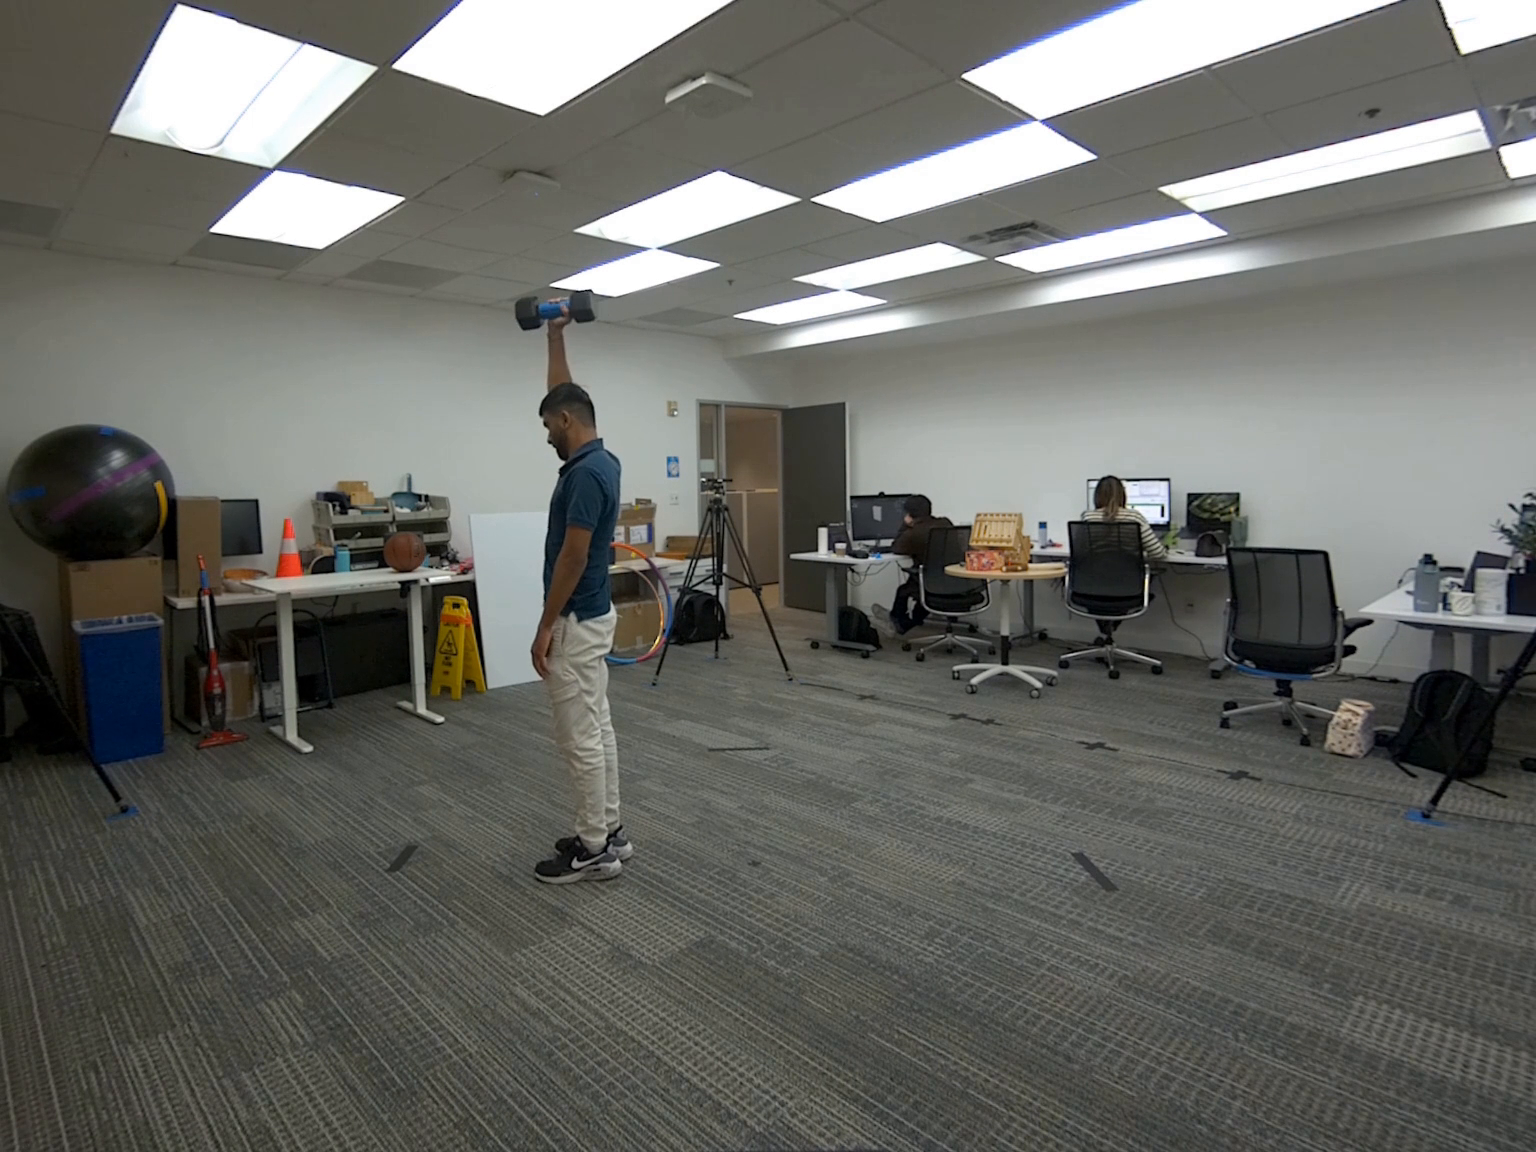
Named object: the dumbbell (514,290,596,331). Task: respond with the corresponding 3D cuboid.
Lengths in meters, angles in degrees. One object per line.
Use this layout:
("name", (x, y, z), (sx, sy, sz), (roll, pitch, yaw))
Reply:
("dumbbell", (-0.774, -0.967, 3.139), (0.296, 0.106, 0.124), (-4, 22, 9))
